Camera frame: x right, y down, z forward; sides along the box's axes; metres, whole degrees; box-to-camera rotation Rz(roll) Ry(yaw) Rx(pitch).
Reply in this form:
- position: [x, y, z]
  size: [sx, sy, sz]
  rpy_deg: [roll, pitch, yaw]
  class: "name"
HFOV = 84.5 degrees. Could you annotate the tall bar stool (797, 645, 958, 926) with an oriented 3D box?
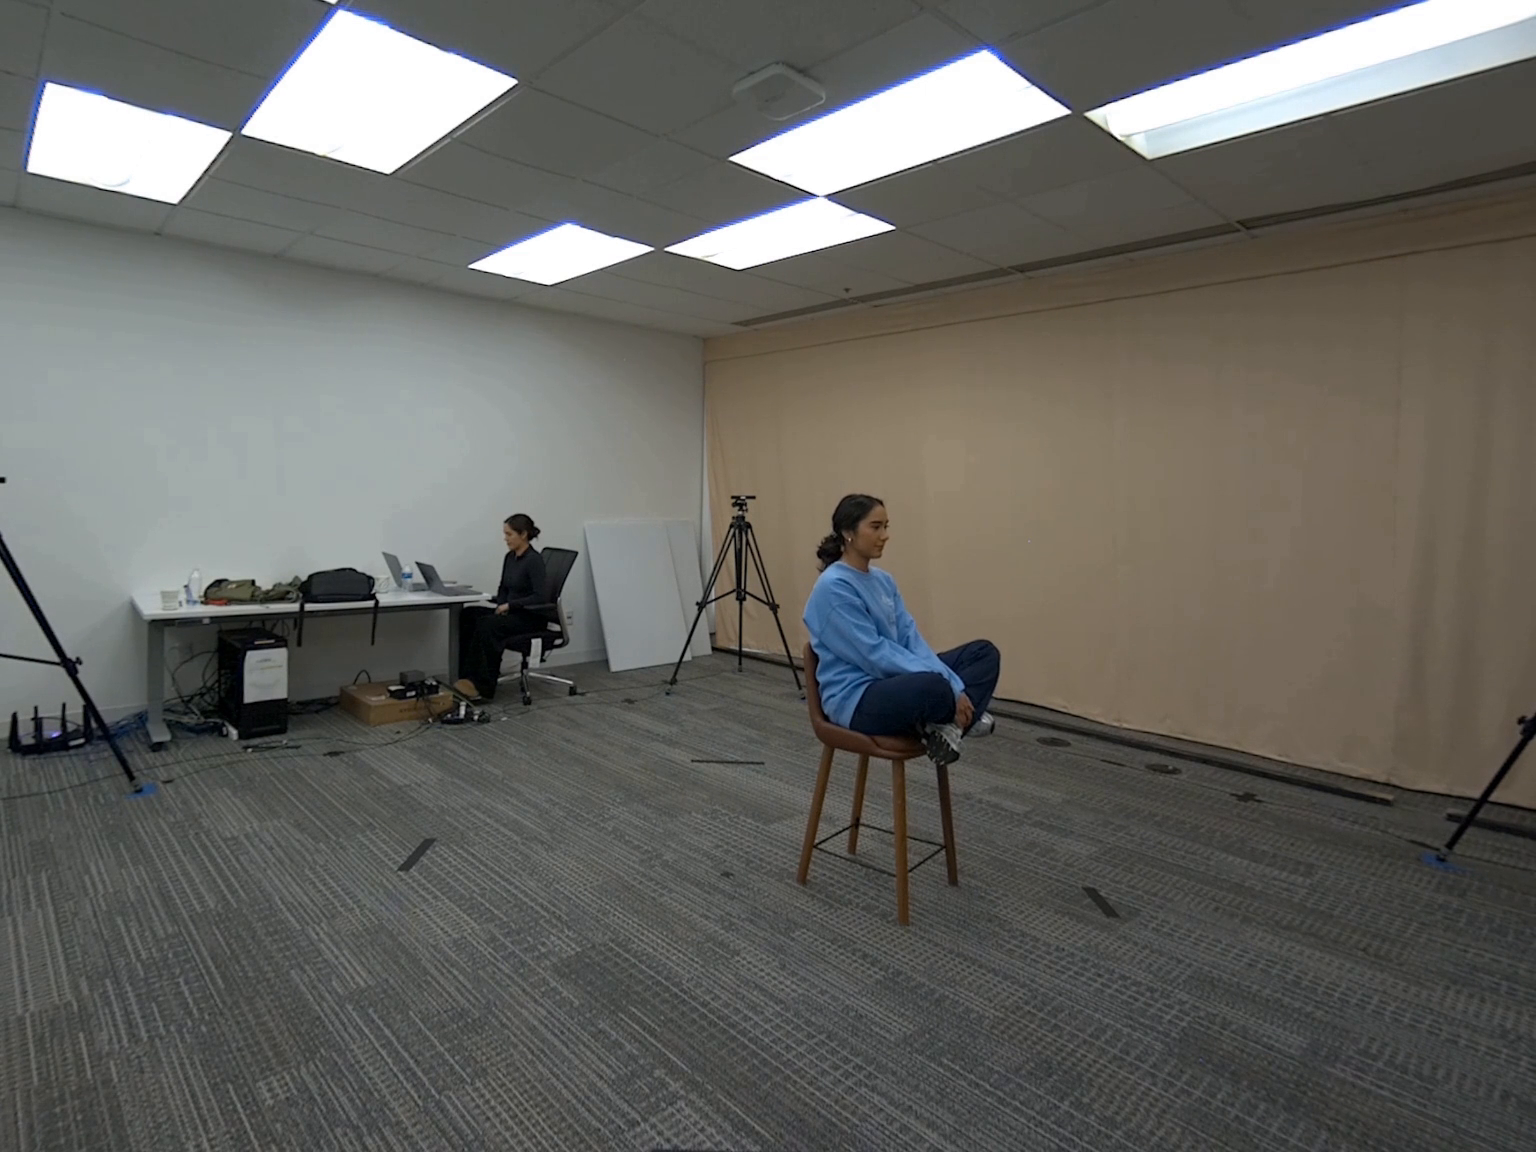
- position: [0.392, 0.687, 3.035]
  size: [0.479, 0.889, 0.446]
  rpy_deg: [2, 2, 39]
  class: "tall bar stool"
